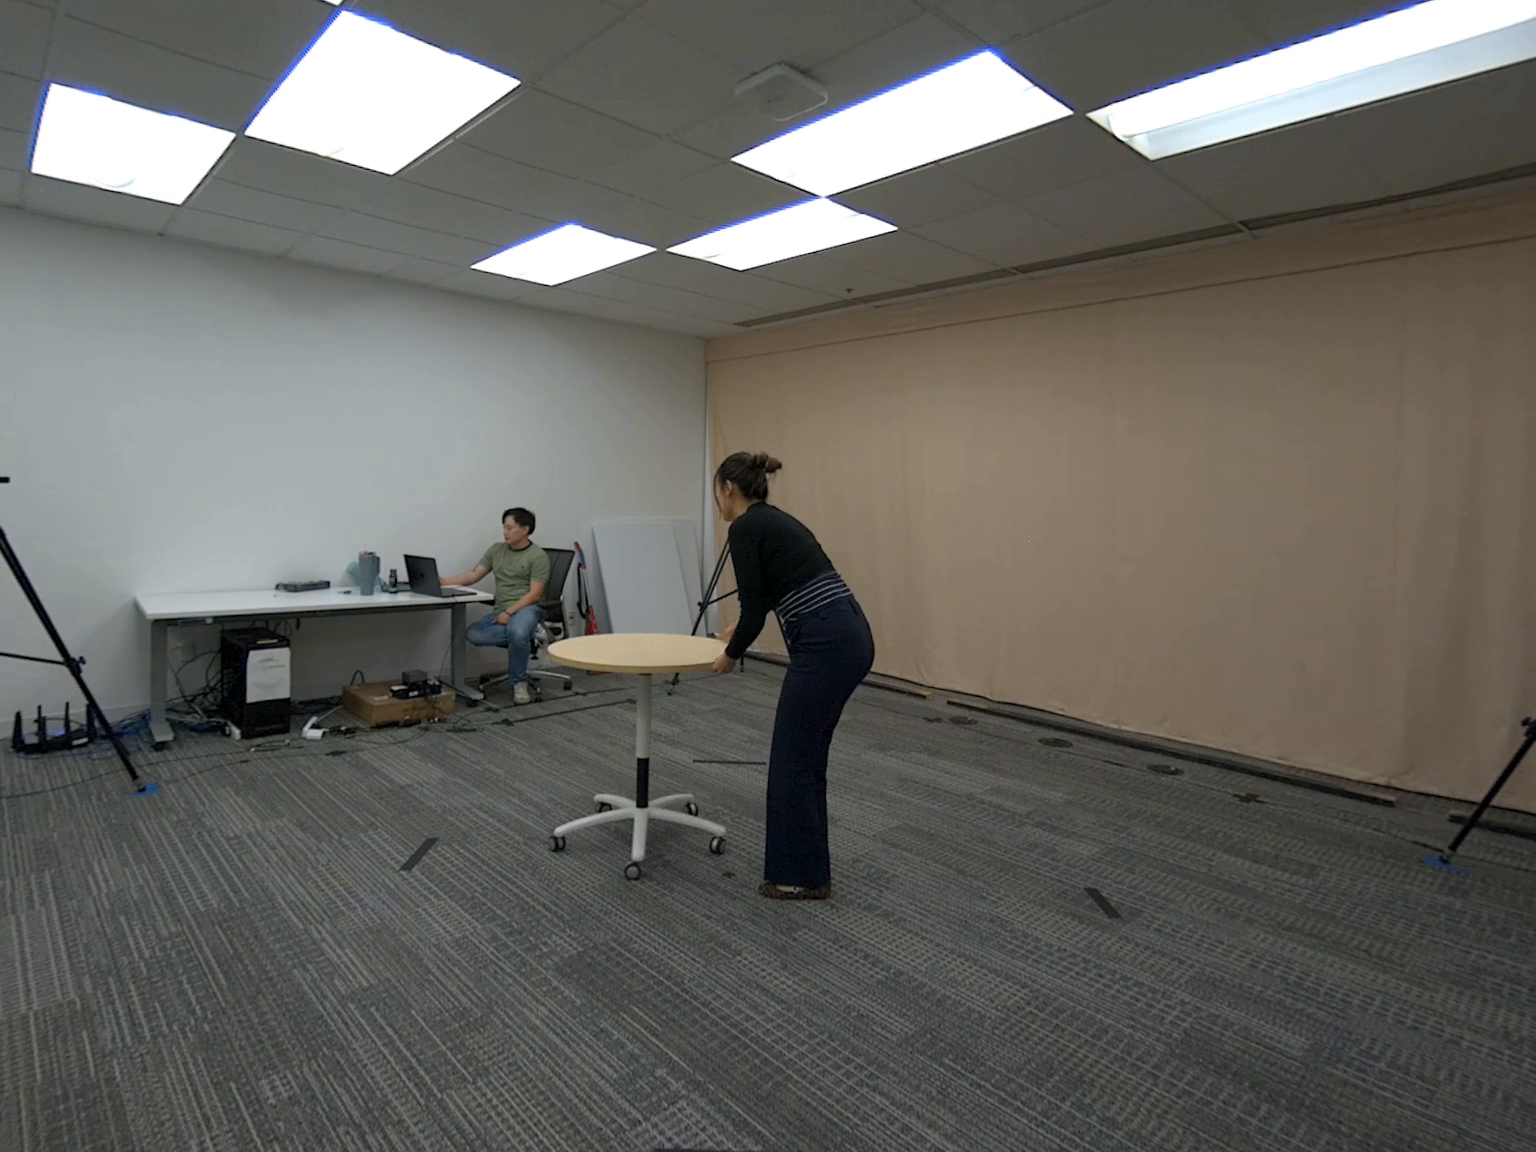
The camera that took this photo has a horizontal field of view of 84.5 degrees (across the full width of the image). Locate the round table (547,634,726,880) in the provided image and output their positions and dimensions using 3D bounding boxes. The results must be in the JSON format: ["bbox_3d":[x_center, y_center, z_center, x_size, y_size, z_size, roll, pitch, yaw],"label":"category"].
[{"bbox_3d":[-0.507,0.681,3.381,0.763,0.792,0.766,1,3,-1],"label":"round table"}]
